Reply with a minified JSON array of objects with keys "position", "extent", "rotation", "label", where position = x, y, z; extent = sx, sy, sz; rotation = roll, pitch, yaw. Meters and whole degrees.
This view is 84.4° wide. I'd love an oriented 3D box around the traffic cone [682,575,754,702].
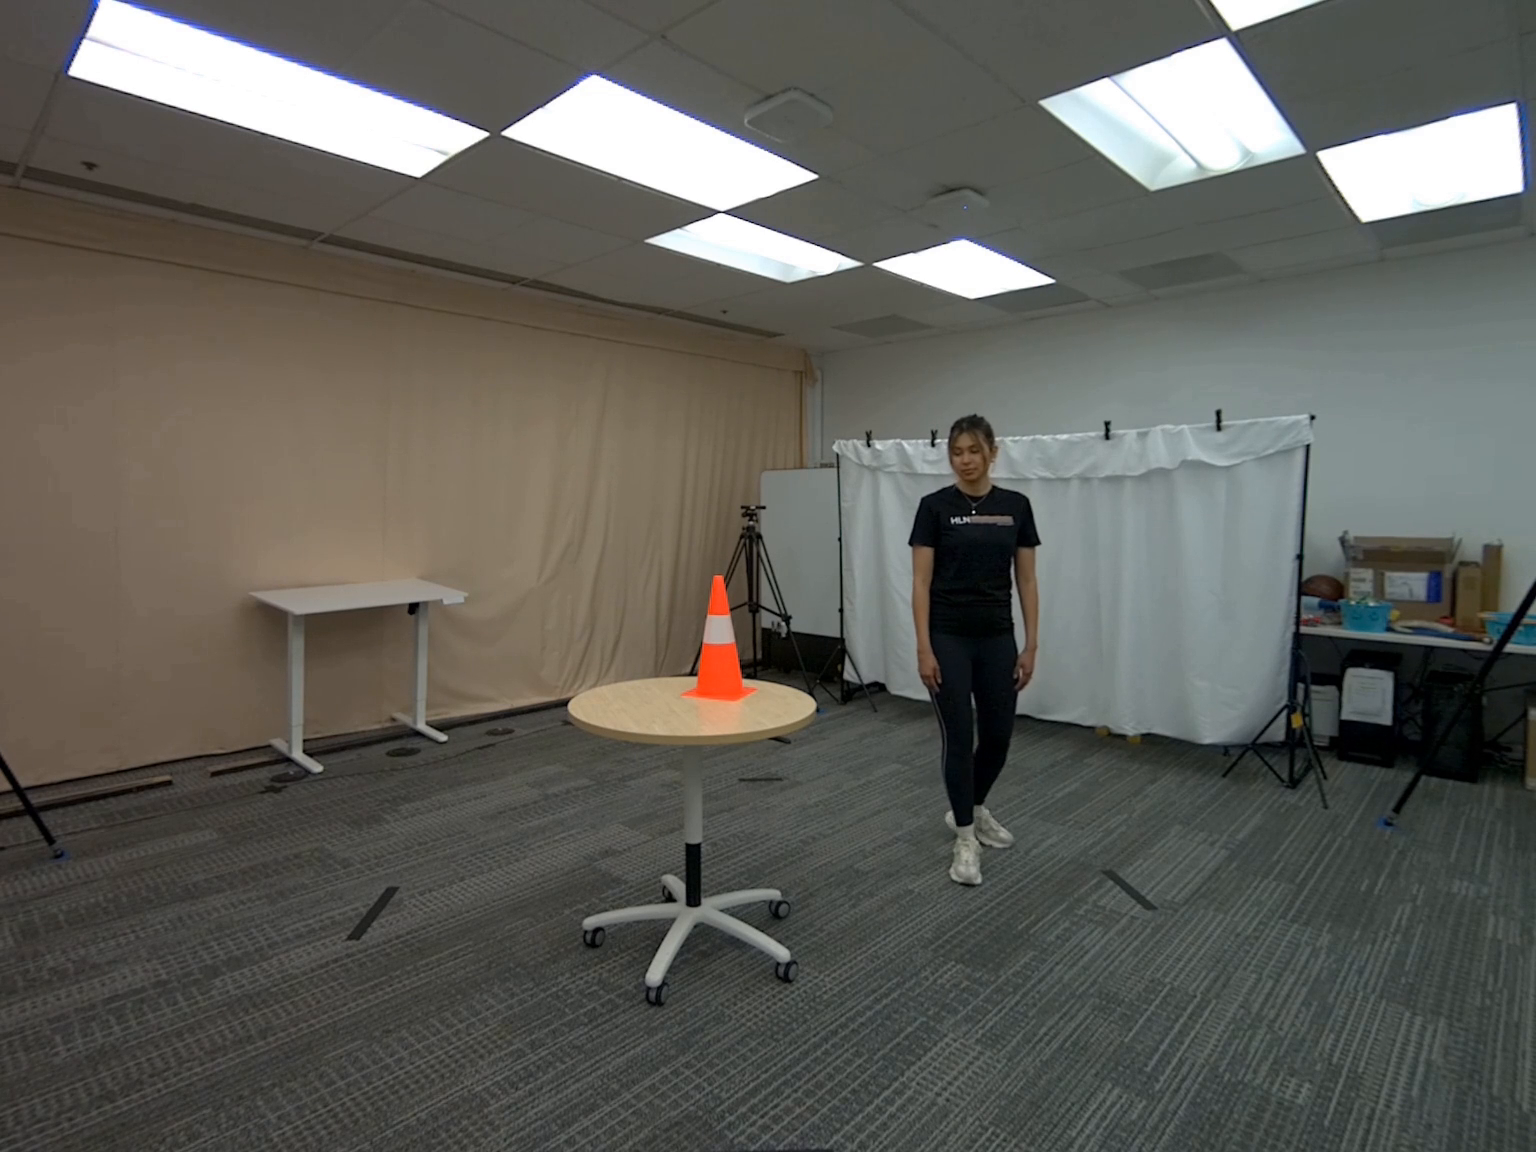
[{"position":[-0.160,0.197,2.738],"extent":[0.208,0.383,0.200],"rotation":[-1,3,23],"label":"traffic cone"}]
